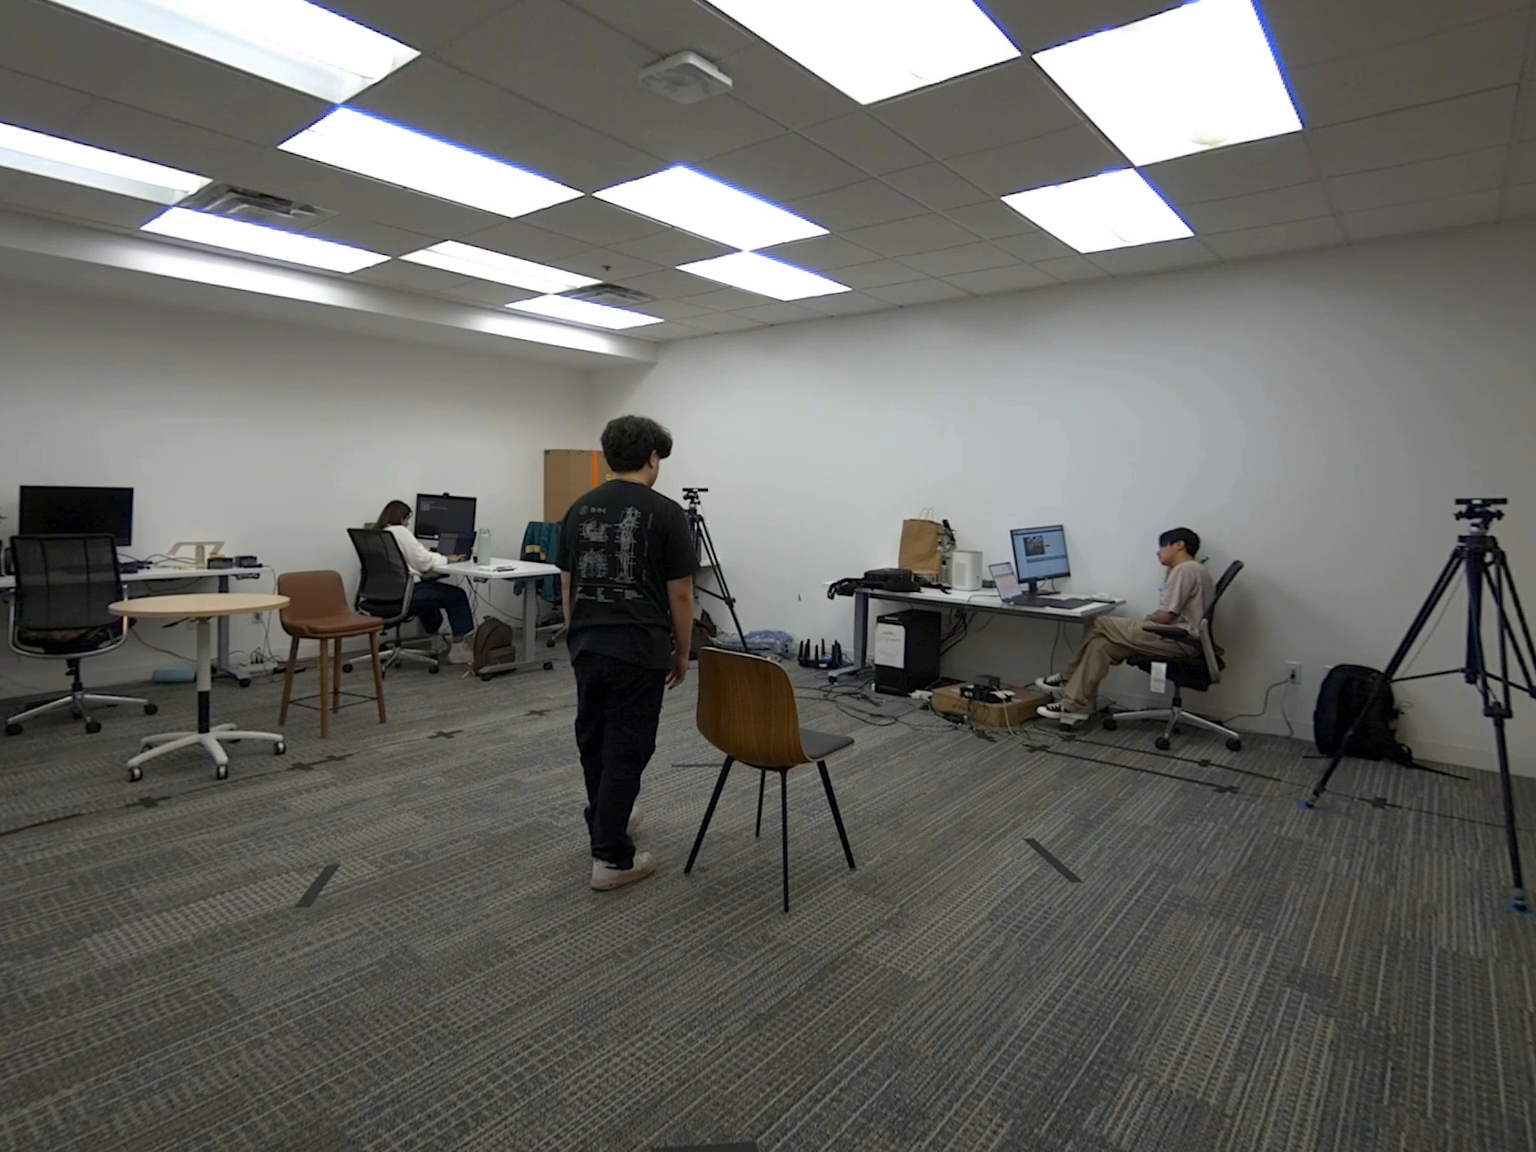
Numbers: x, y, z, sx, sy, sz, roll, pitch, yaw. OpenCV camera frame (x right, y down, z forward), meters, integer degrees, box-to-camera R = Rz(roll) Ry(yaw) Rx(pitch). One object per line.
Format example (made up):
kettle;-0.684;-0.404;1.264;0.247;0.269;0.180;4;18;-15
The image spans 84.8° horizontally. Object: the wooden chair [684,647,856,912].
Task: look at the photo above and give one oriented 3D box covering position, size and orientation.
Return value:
wooden chair;0.016;0.653;3.086;0.493;0.872;0.510;3;8;36
